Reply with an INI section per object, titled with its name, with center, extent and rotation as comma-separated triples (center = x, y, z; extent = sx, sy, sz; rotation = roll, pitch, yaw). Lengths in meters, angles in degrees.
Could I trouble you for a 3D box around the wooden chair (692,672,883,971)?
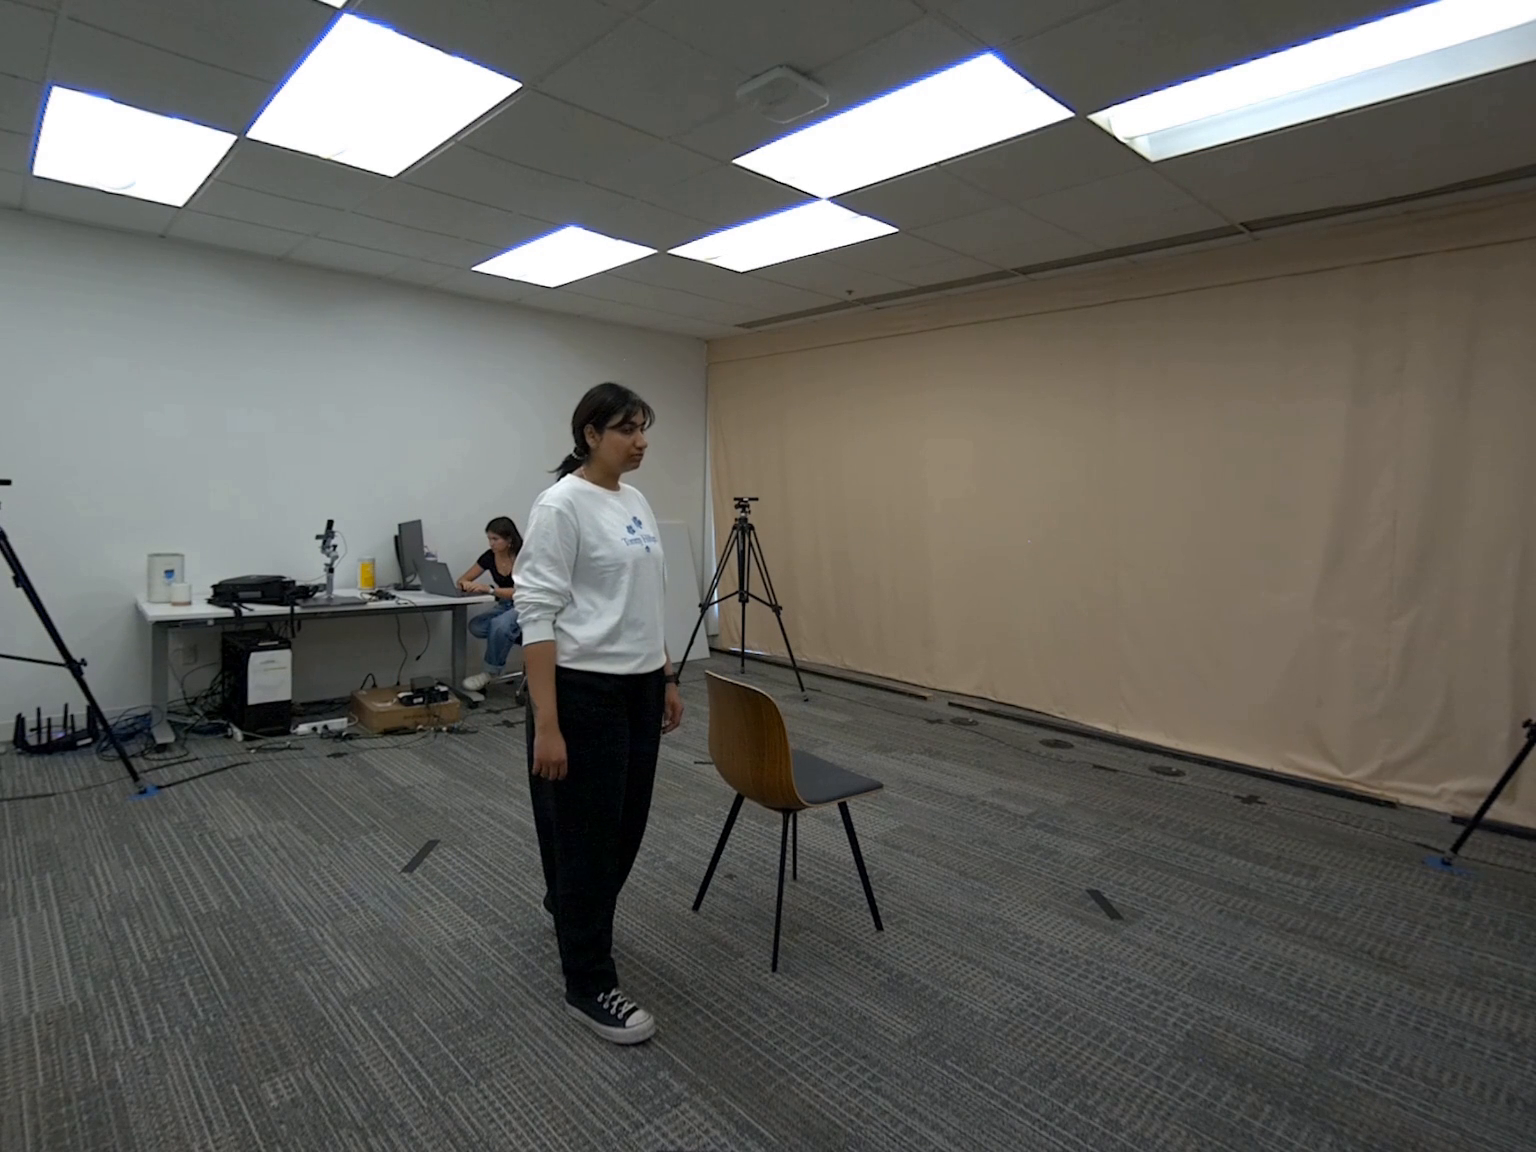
[wooden chair]
center = 0.071, 0.718, 2.765
extent = 0.513, 0.873, 0.490
rotation = -7, 8, -36
